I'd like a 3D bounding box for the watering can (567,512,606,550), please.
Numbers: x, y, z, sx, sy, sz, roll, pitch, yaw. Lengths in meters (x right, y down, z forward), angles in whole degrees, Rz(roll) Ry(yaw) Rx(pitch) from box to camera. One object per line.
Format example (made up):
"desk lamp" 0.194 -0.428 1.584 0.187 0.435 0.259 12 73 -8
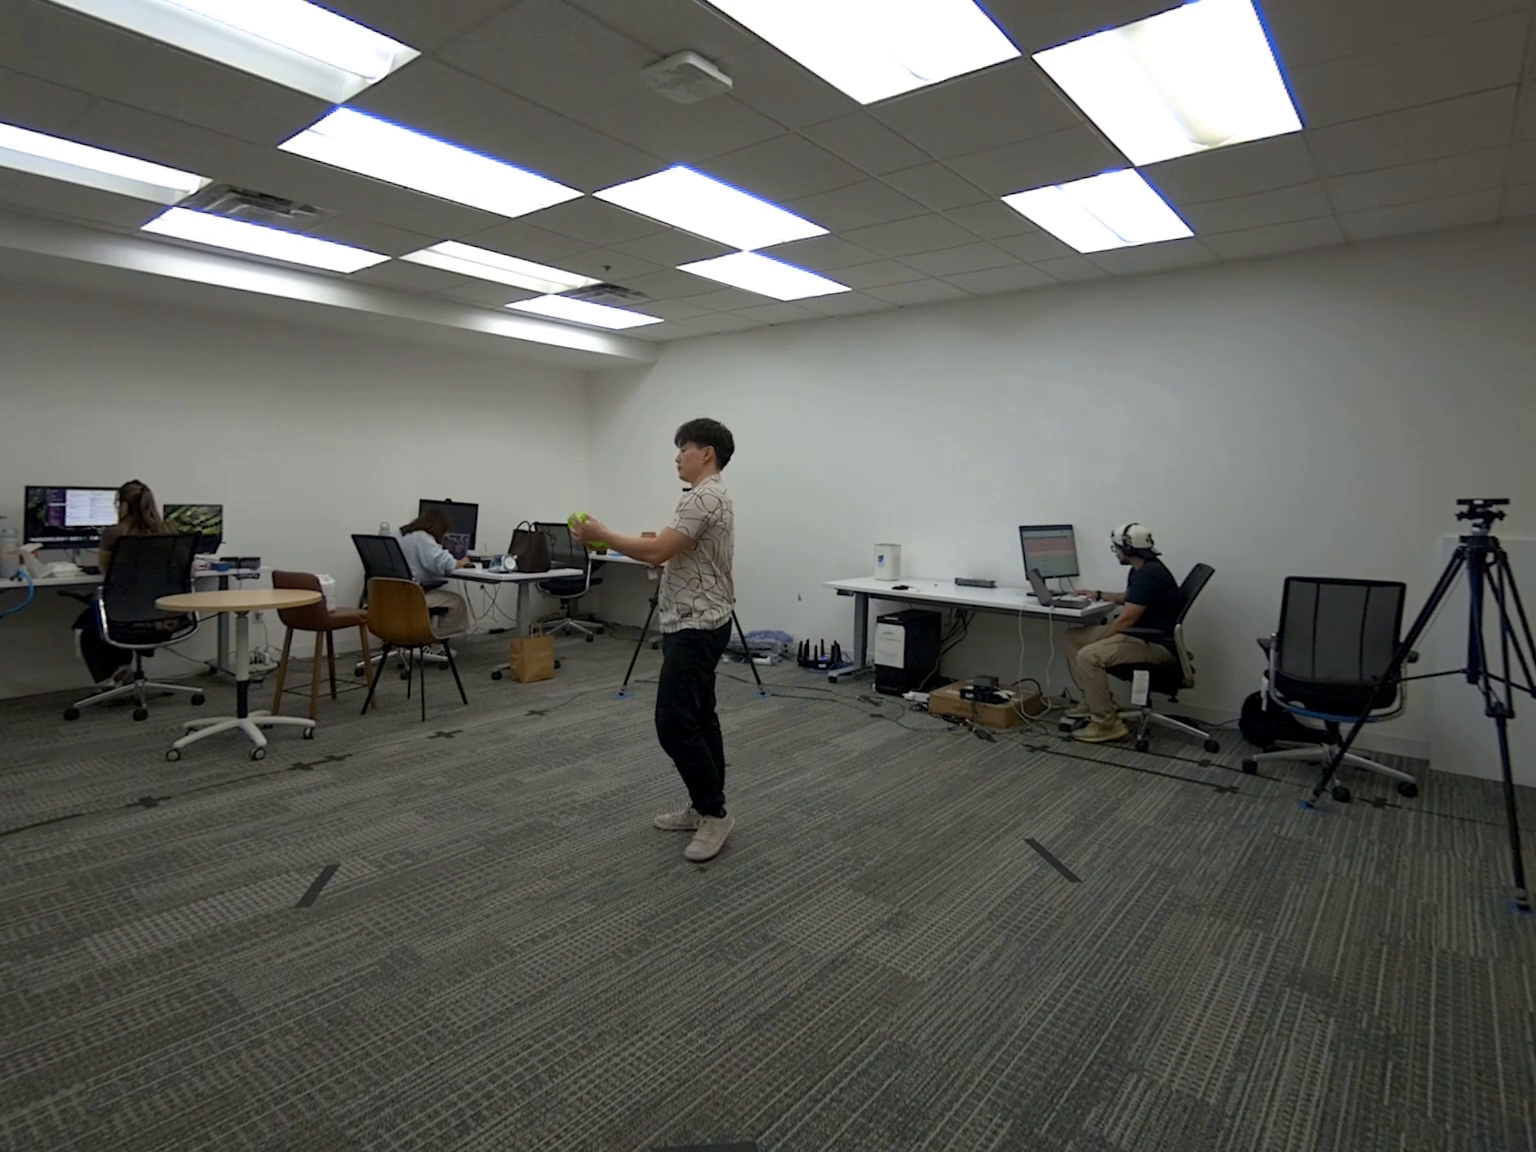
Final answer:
"watering can" -0.731 -0.210 3.392 0.184 0.268 0.098 32 63 33
